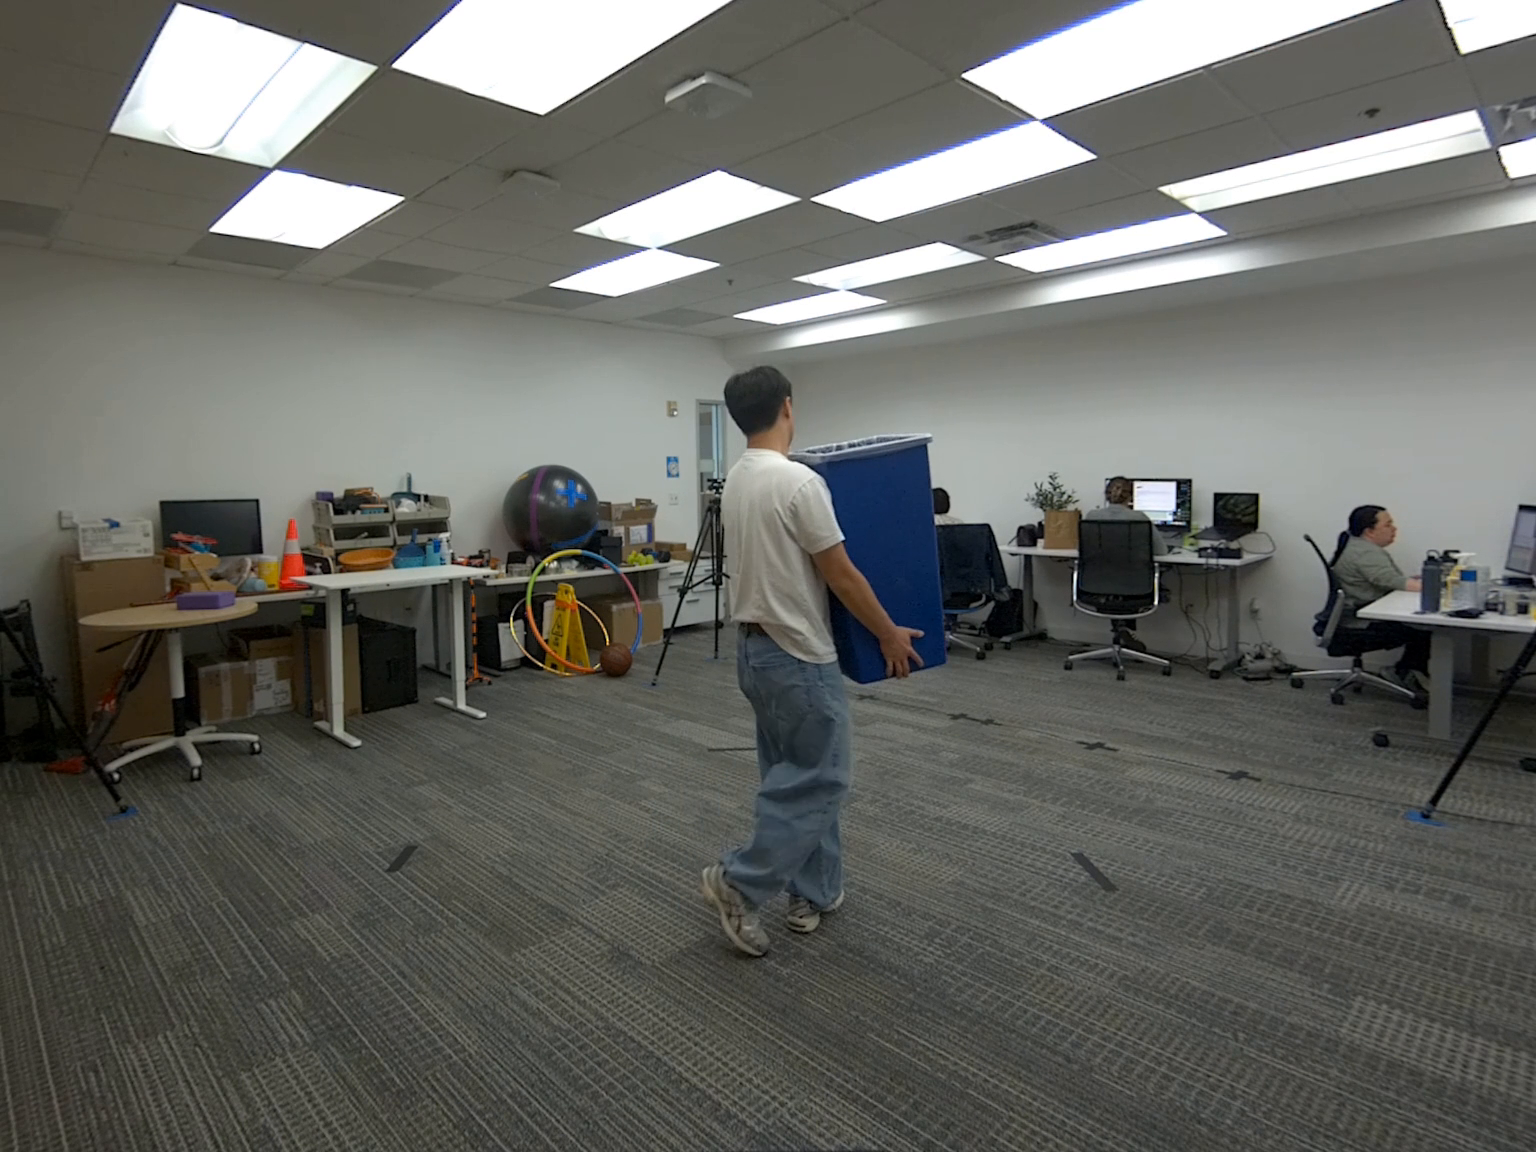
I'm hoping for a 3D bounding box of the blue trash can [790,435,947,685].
[{"bbox_3d":[0.324,-0.070,2.707,0.373,0.707,0.382,-12,9,-16],"label":"blue trash can"}]
